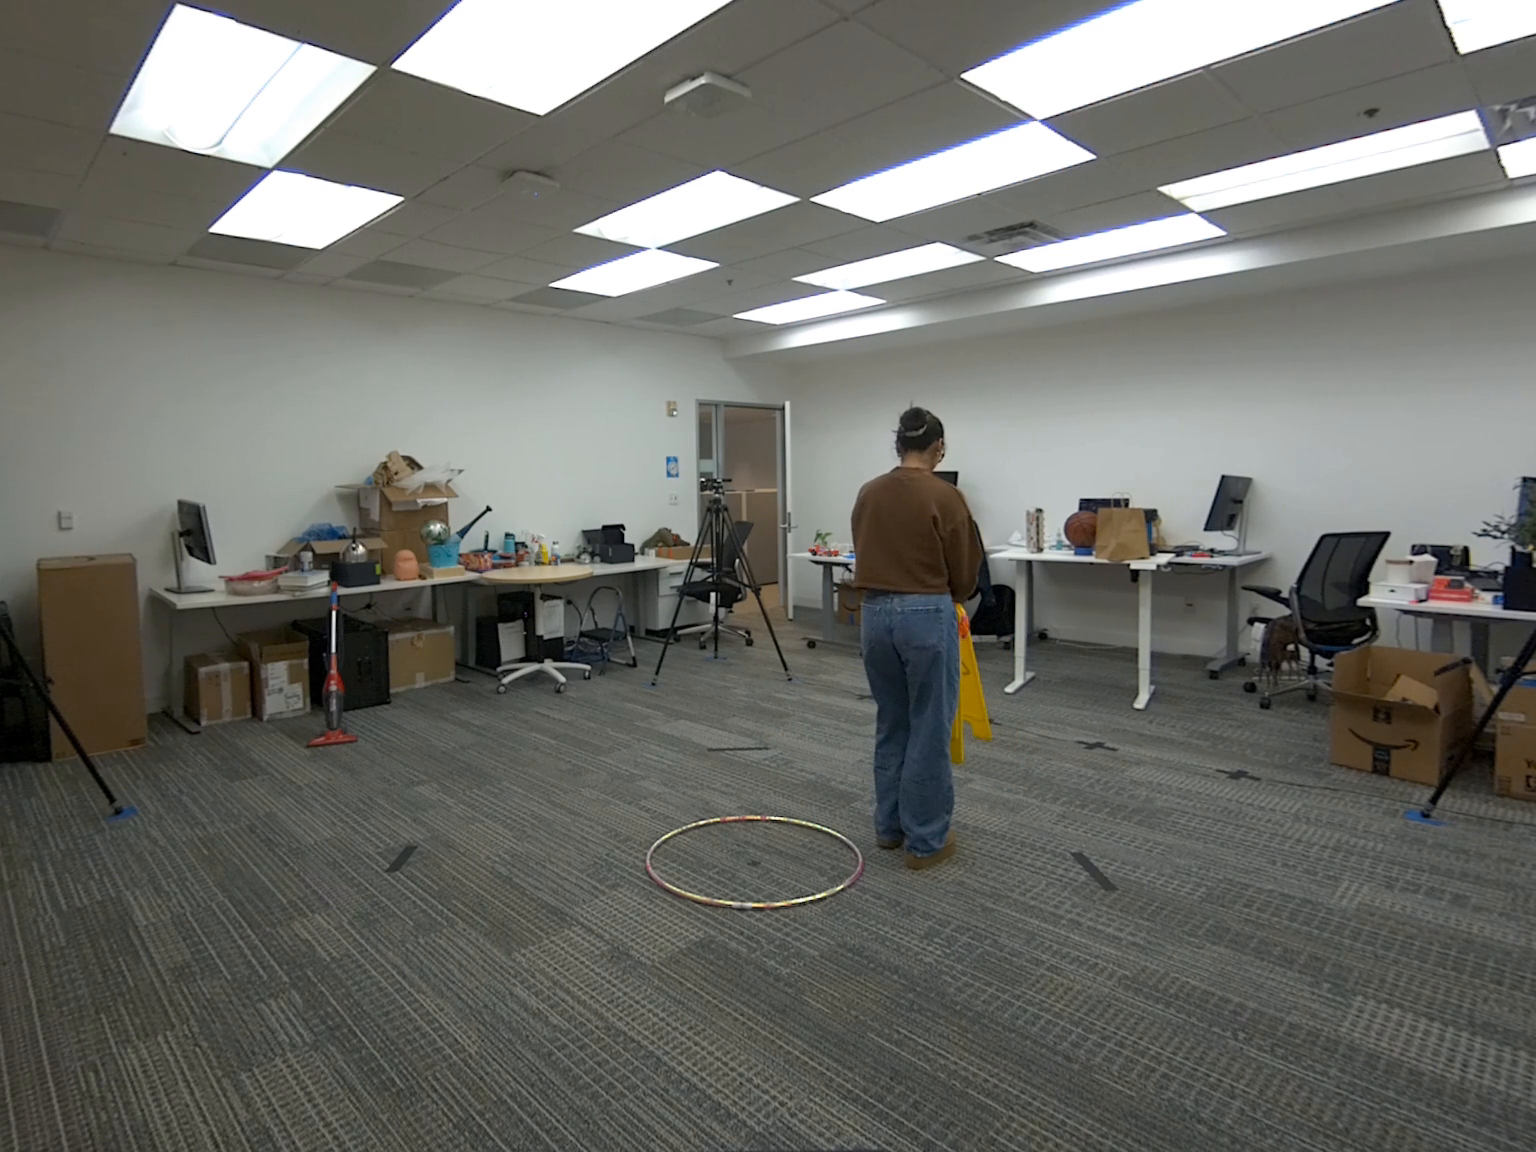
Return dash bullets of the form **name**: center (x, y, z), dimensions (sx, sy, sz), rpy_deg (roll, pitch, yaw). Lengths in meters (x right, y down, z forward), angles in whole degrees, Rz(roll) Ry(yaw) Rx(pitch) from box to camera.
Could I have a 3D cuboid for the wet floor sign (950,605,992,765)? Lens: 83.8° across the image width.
- **wet floor sign**: center (0.691, 0.368, 3.395), dimensions (0.291, 0.641, 0.283), rpy_deg (3, 11, 39)
